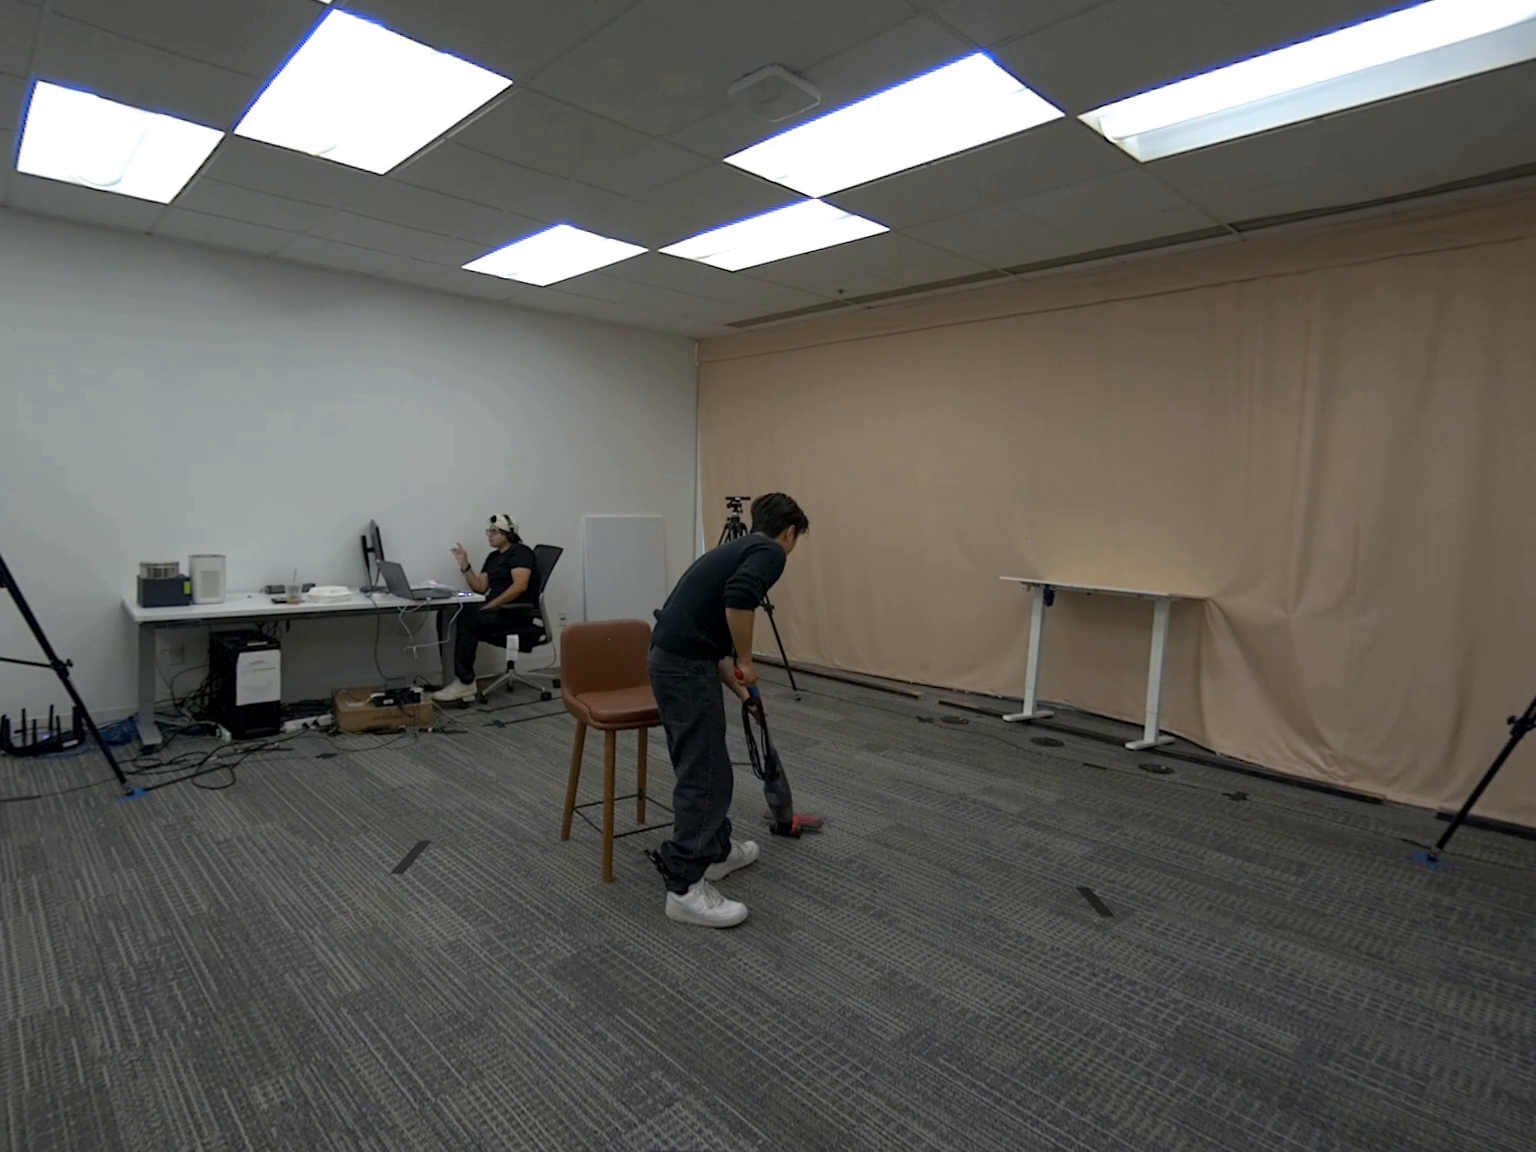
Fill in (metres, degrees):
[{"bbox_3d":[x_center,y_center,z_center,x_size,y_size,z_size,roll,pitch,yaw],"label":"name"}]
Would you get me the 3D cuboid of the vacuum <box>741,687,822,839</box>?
[{"bbox_3d":[-0.004,0.685,3.219,0.257,1.021,0.145,8,46,24],"label":"vacuum"}]
